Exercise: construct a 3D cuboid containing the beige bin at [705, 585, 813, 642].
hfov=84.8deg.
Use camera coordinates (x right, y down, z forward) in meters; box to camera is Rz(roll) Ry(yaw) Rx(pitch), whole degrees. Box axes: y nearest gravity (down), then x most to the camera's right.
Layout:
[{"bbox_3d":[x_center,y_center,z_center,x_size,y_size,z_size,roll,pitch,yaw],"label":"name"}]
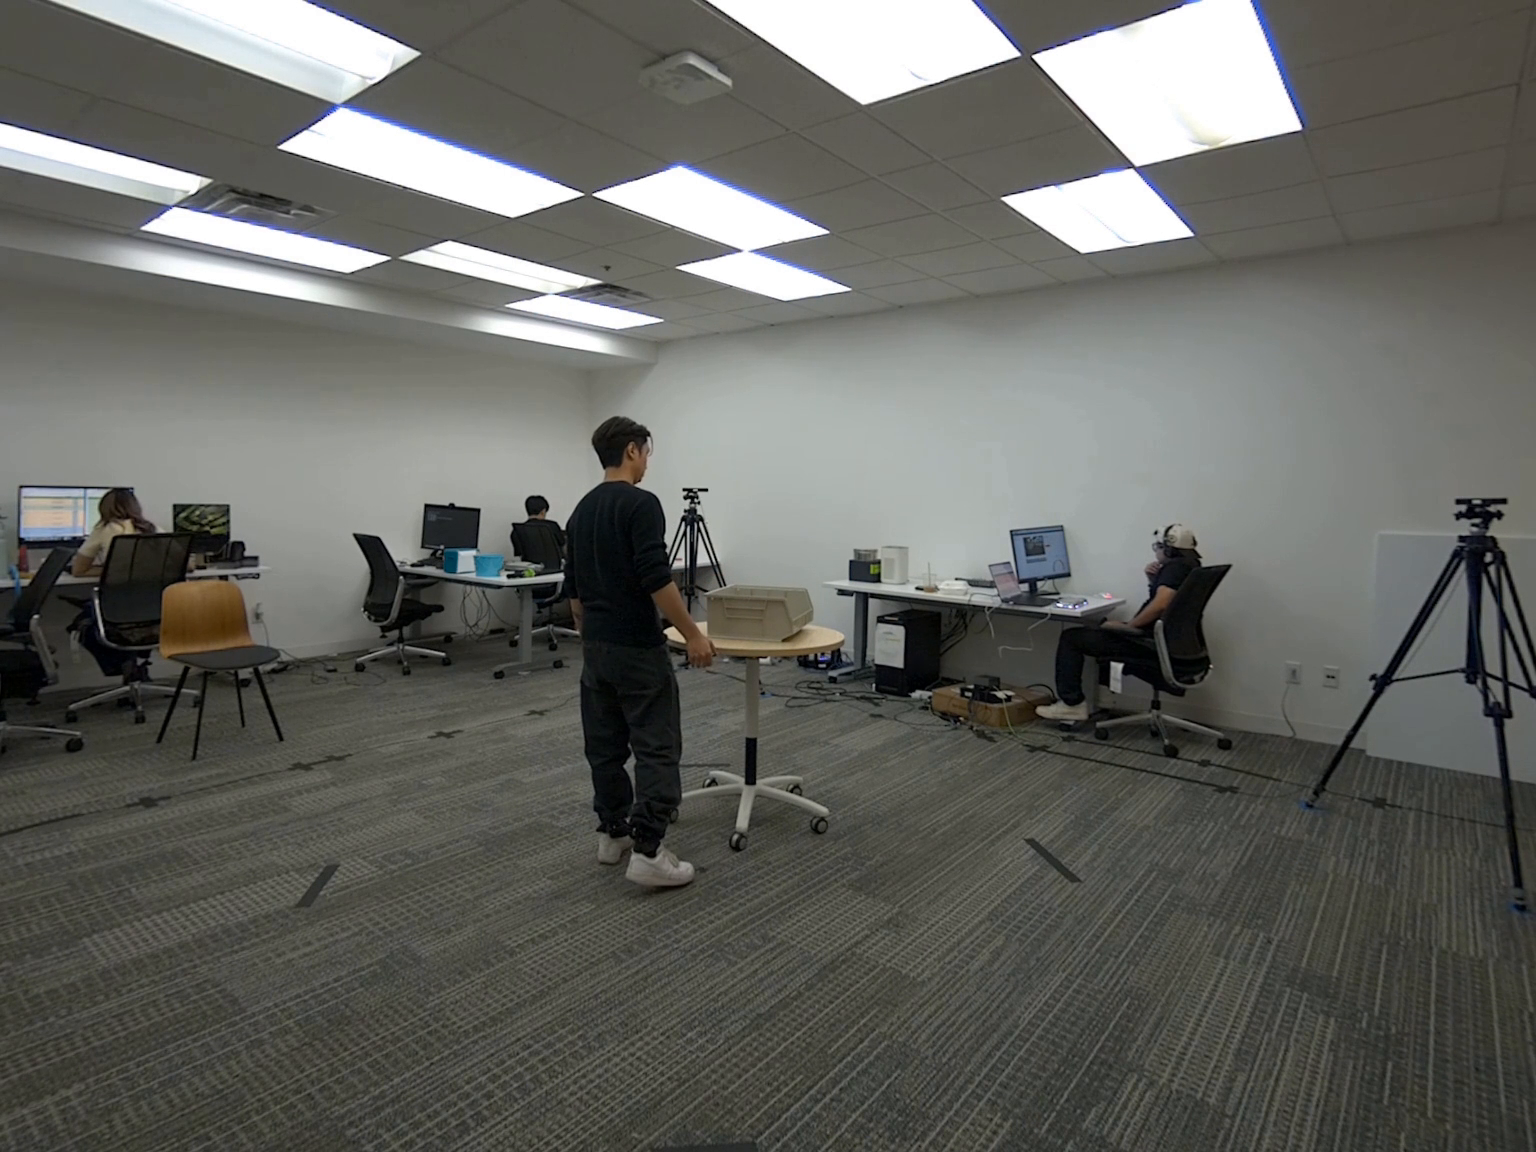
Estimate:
[{"bbox_3d":[-0.028,0.157,3.648,0.381,0.188,0.420,2,6,9],"label":"beige bin"}]
